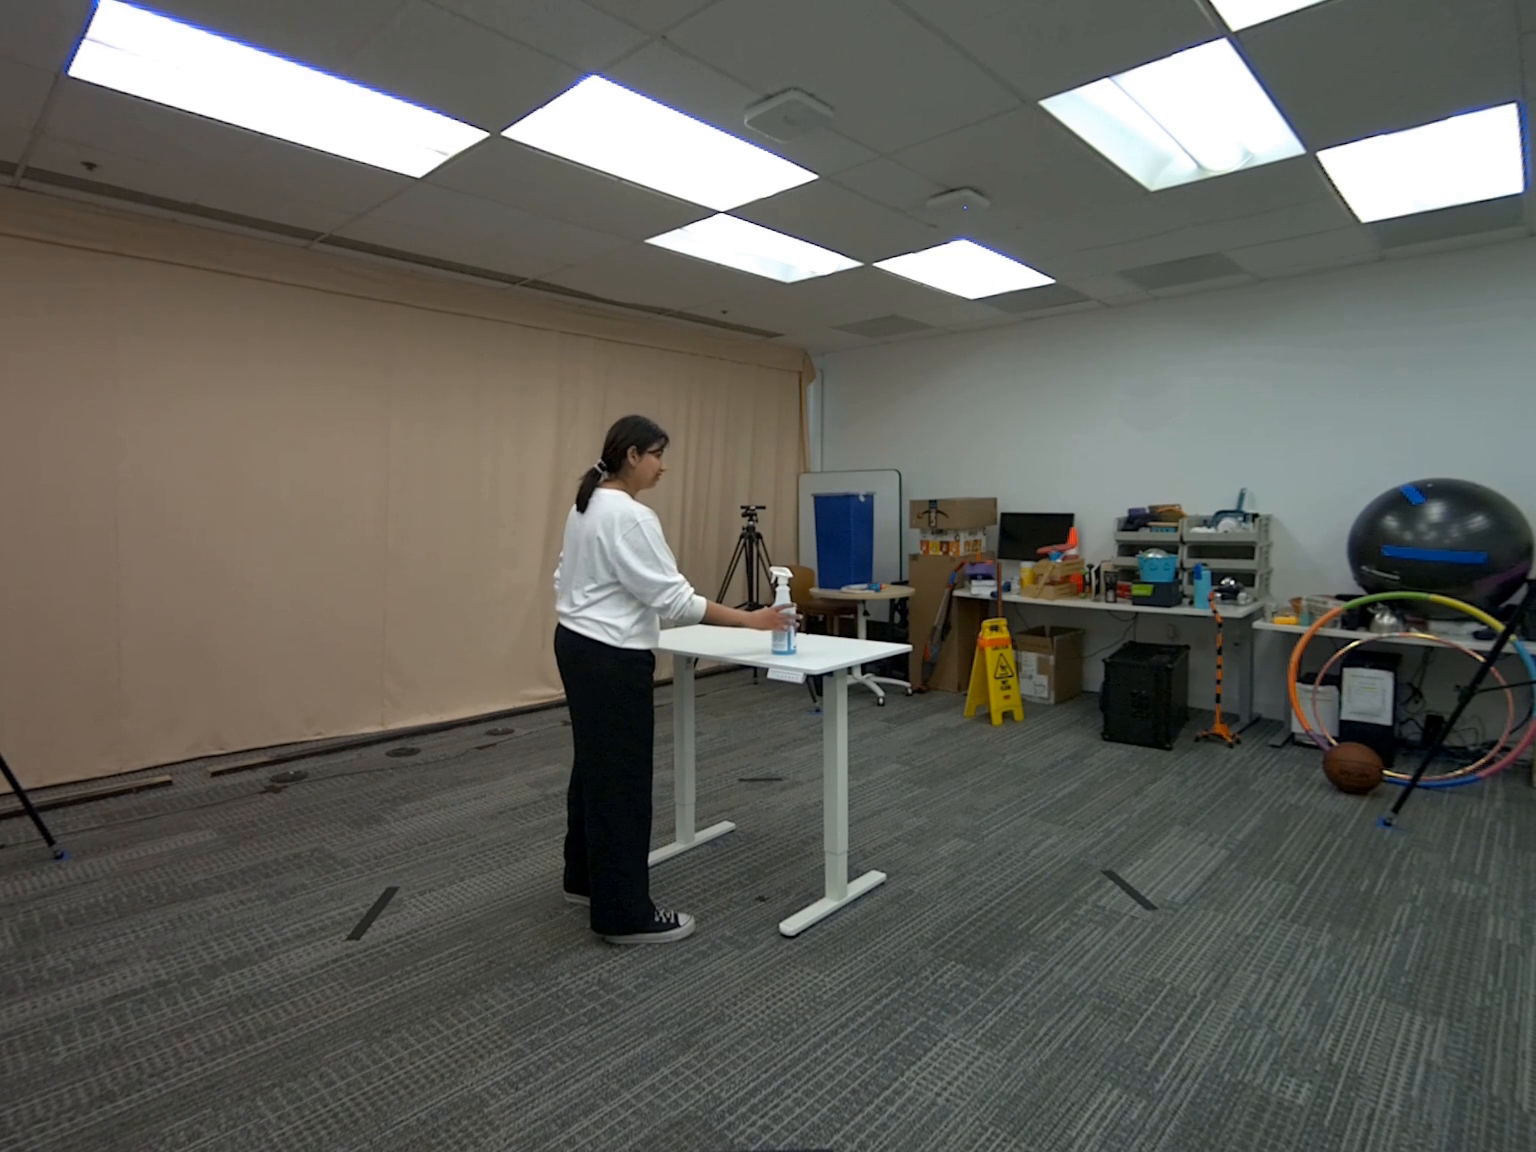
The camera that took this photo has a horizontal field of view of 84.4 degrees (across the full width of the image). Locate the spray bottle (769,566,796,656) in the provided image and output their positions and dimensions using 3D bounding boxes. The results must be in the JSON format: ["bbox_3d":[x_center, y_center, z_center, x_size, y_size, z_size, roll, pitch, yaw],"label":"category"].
[{"bbox_3d":[0.059,0.121,2.888,0.085,0.297,0.092,-2,0,-25],"label":"spray bottle"}]
